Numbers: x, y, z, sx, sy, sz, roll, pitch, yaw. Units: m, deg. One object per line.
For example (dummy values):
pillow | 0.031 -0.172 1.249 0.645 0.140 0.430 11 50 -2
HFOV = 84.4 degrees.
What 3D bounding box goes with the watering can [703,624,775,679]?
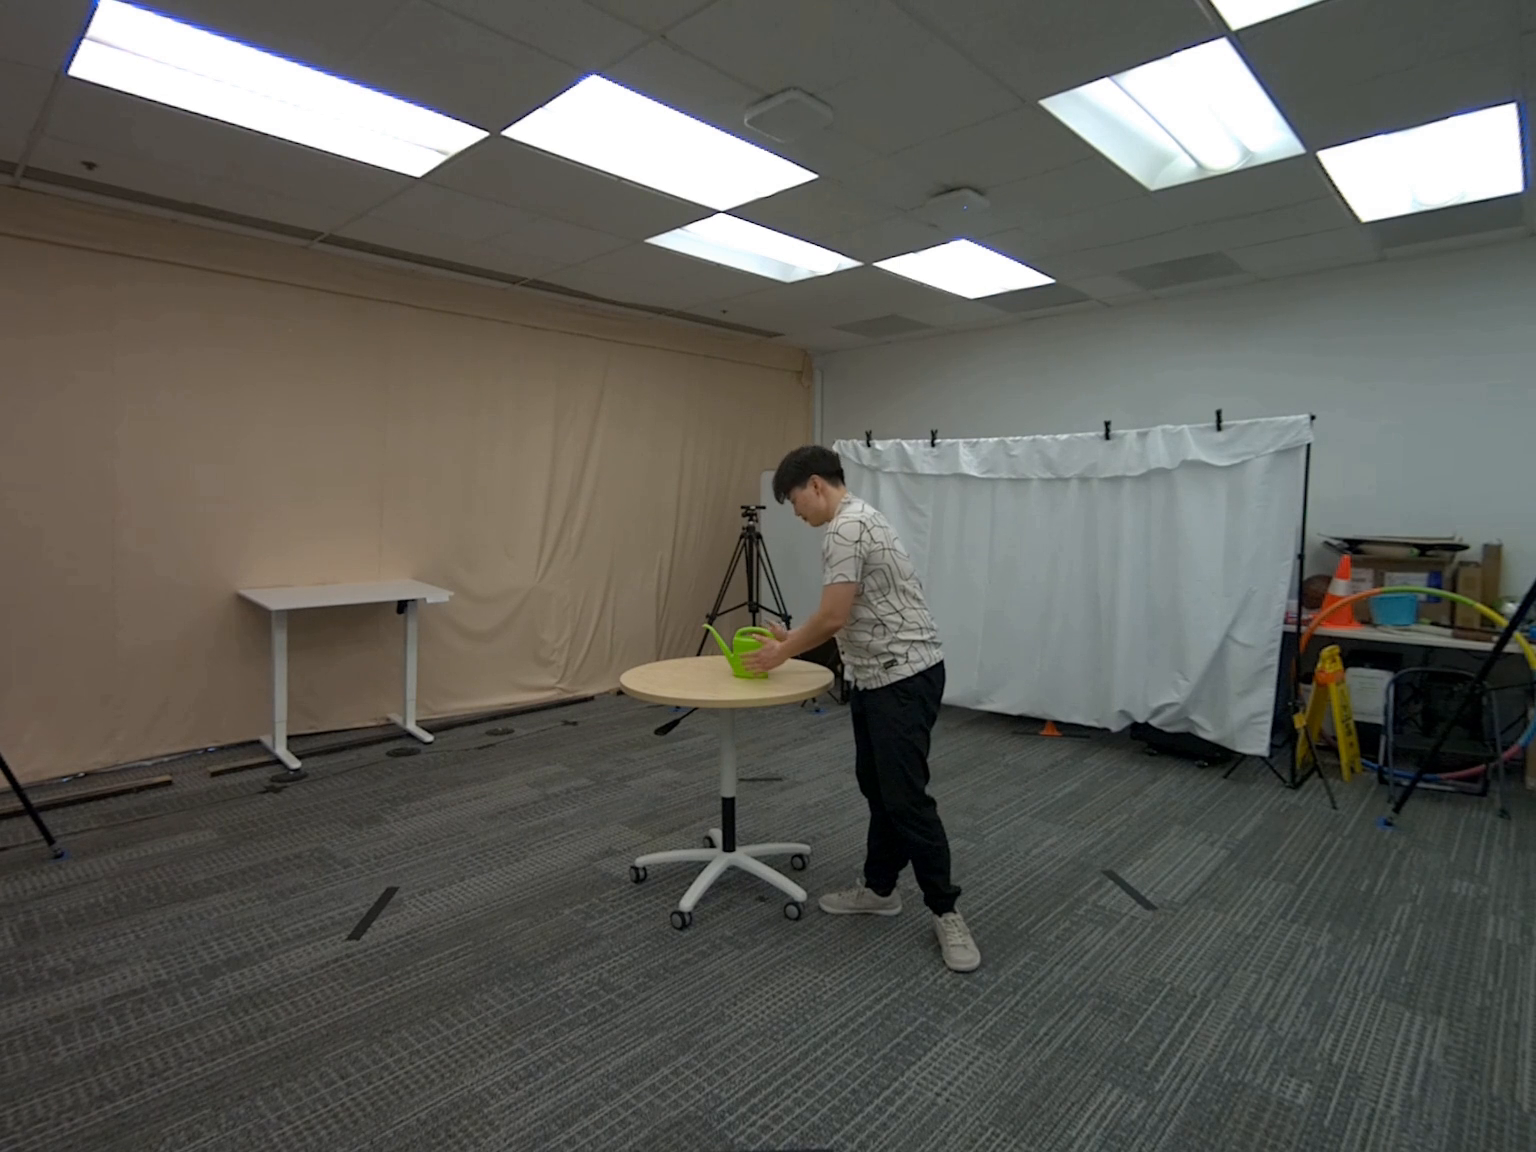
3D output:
watering can | -0.096 0.270 3.021 0.286 0.176 0.095 5 7 30
